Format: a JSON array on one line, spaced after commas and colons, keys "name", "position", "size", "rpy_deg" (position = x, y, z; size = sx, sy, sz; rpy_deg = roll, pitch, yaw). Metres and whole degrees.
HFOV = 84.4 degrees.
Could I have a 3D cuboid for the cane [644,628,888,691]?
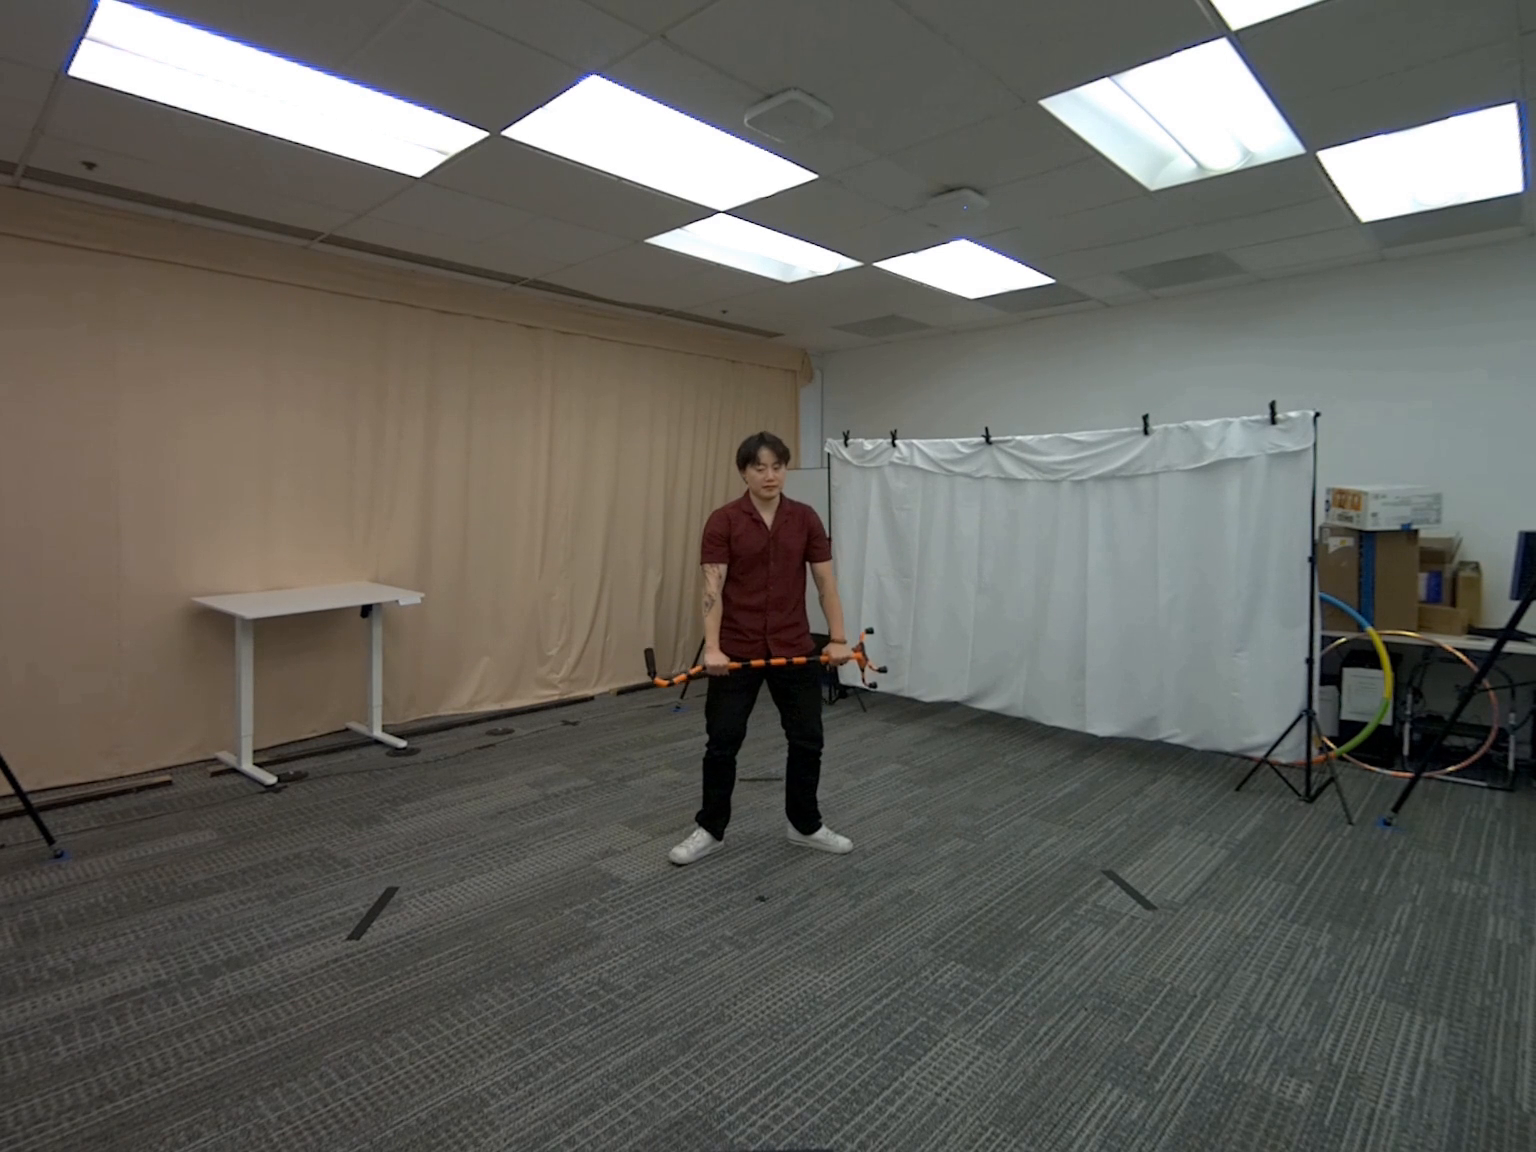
[{"name": "cane", "position": [-0.007, 0.344, 3.209], "size": [0.897, 0.211, 0.150], "rpy_deg": [-2, -36, -12]}]
